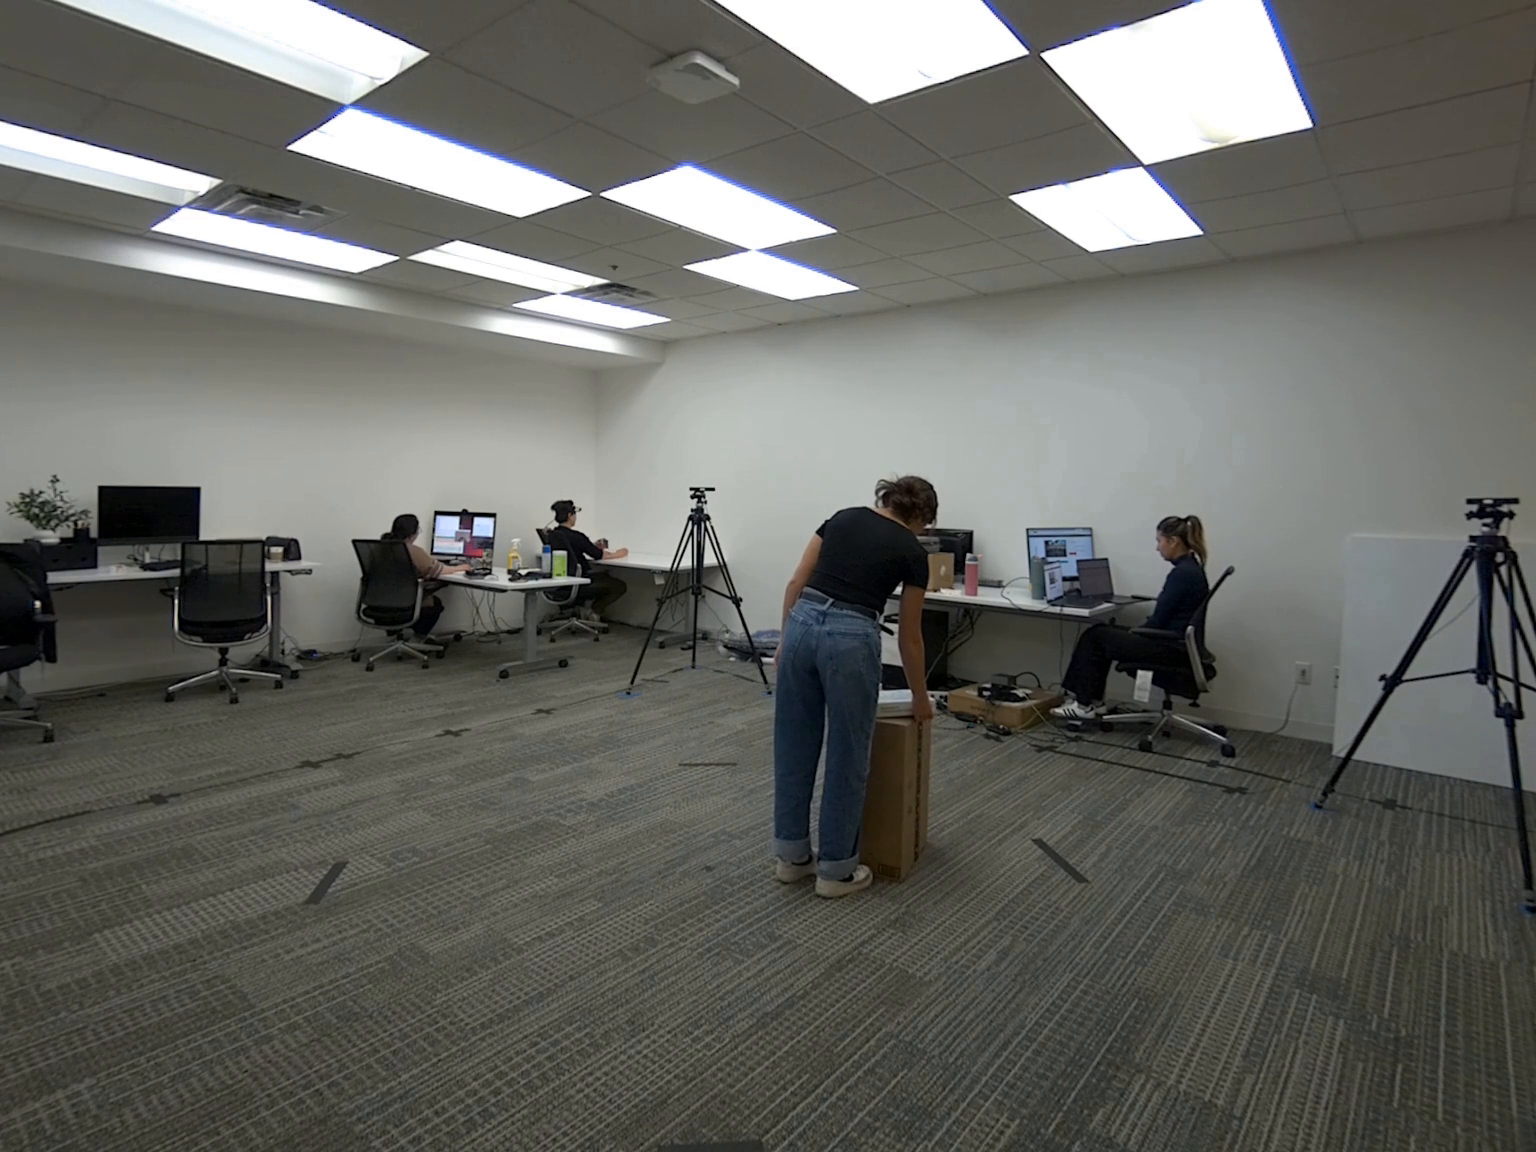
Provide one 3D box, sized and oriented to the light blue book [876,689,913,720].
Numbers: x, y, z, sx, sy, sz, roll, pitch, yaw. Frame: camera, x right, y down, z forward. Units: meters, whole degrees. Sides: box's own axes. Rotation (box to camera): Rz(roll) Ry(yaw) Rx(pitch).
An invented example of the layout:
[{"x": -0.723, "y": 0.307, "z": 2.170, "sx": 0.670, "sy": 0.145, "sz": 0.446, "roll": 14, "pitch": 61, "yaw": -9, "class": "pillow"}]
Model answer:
[{"x": 0.465, "y": 0.478, "z": 3.195, "sx": 0.258, "sy": 0.059, "sz": 0.194, "roll": -2, "pitch": 3, "yaw": -11, "class": "light blue book"}]
